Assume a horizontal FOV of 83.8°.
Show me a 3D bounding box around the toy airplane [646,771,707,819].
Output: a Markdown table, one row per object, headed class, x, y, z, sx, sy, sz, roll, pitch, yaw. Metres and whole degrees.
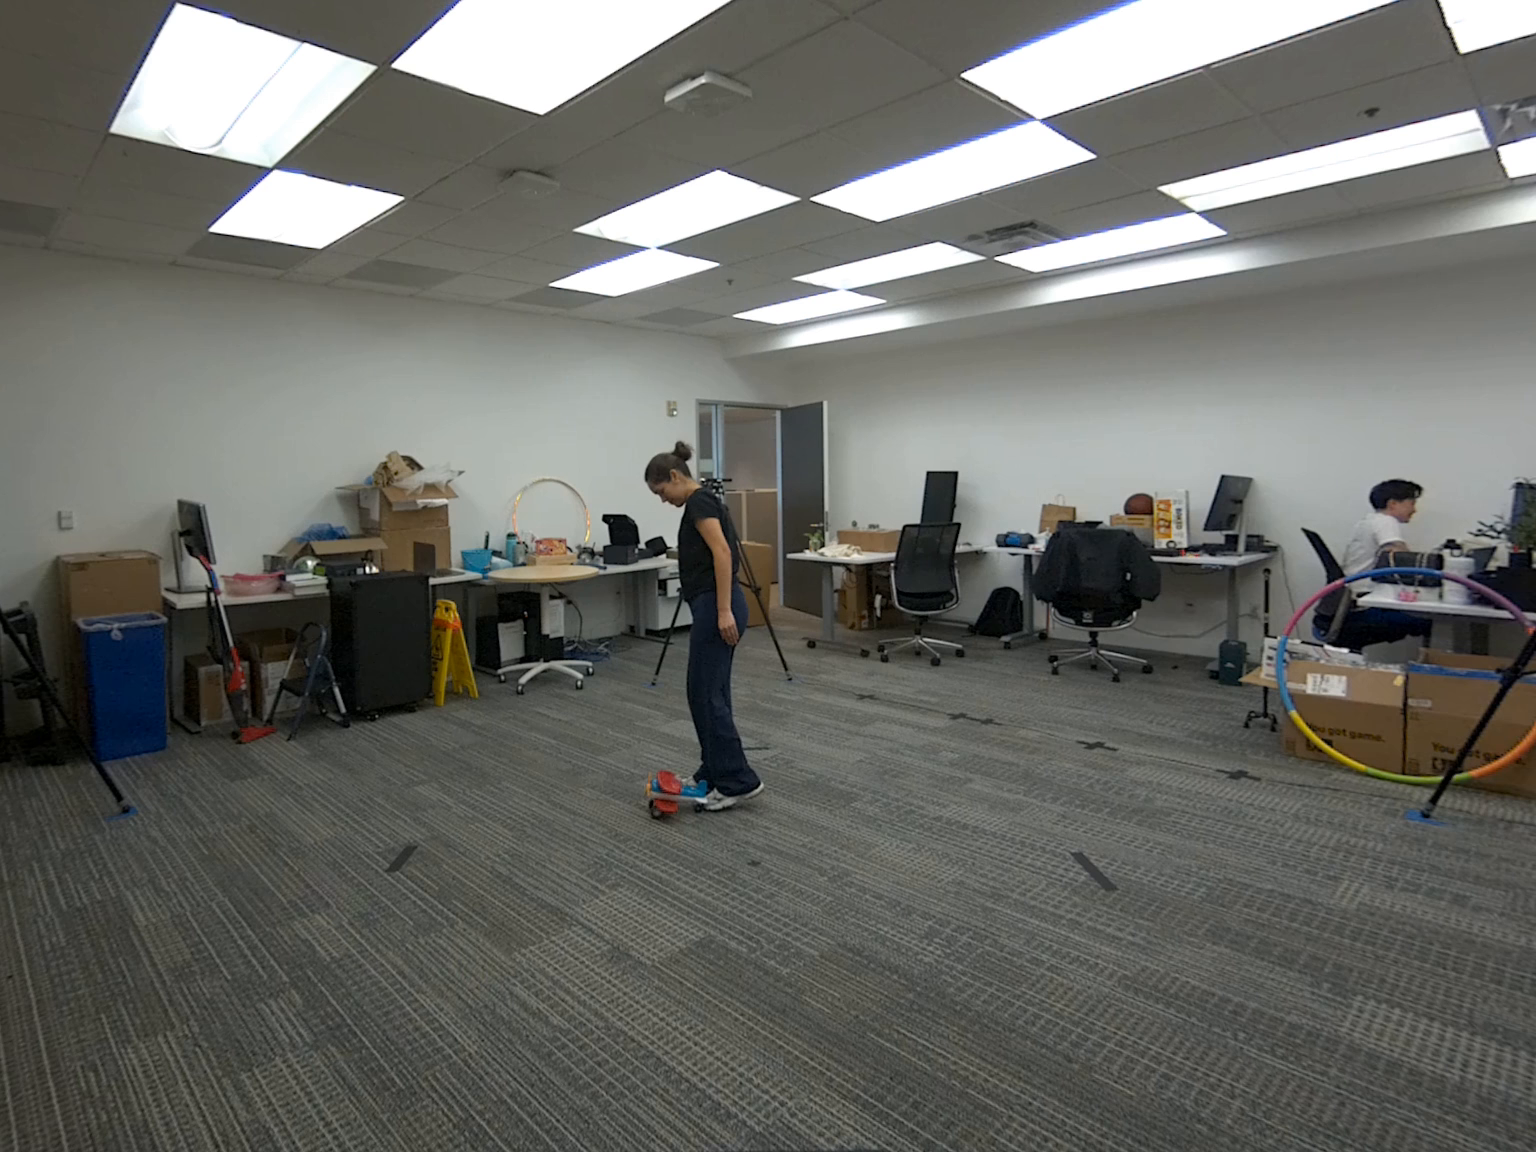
| class | x | y | z | sx | sy | sz | roll | pitch | yaw |
| --- | --- | --- | --- | --- | --- | --- | --- | --- | --- |
| toy airplane | -0.399 | 0.920 | 3.615 | 0.252 | 0.156 | 0.258 | -6 | 6 | -39 |
